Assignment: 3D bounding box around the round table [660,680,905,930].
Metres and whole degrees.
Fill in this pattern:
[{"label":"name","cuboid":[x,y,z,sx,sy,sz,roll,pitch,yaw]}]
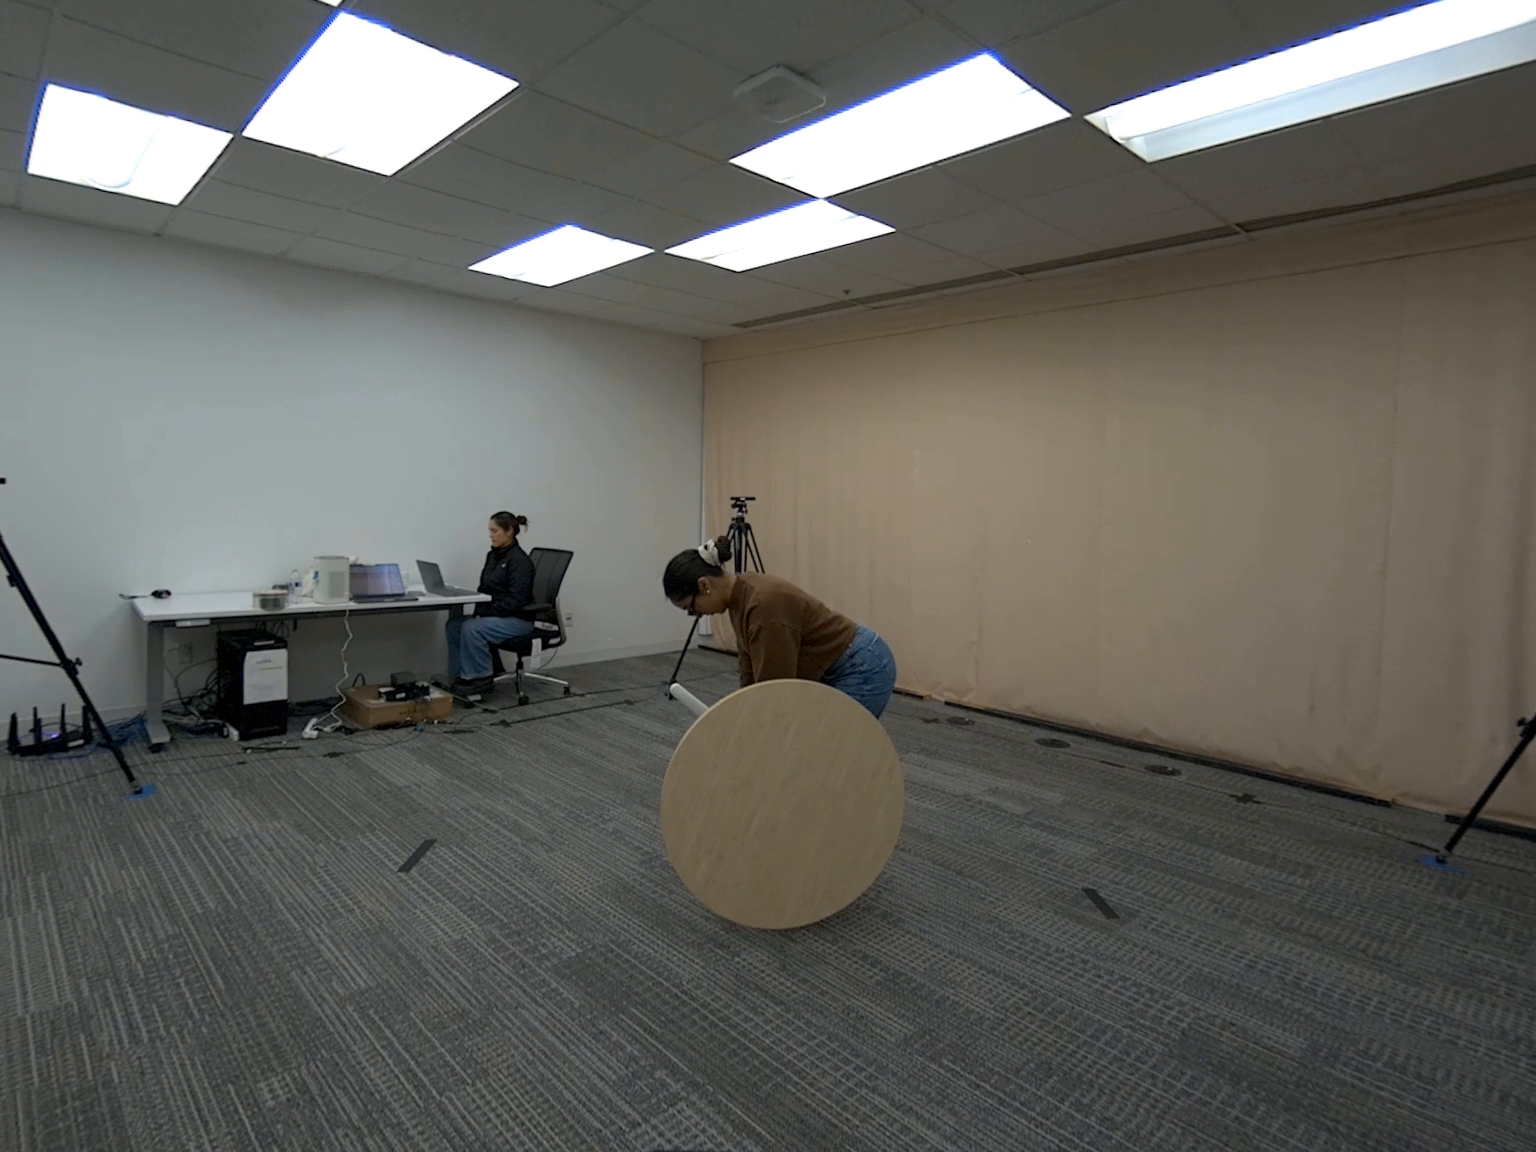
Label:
[{"label":"round table","cuboid":[-0.036,0.678,2.958,0.757,0.763,0.802,0,2,-12]}]
